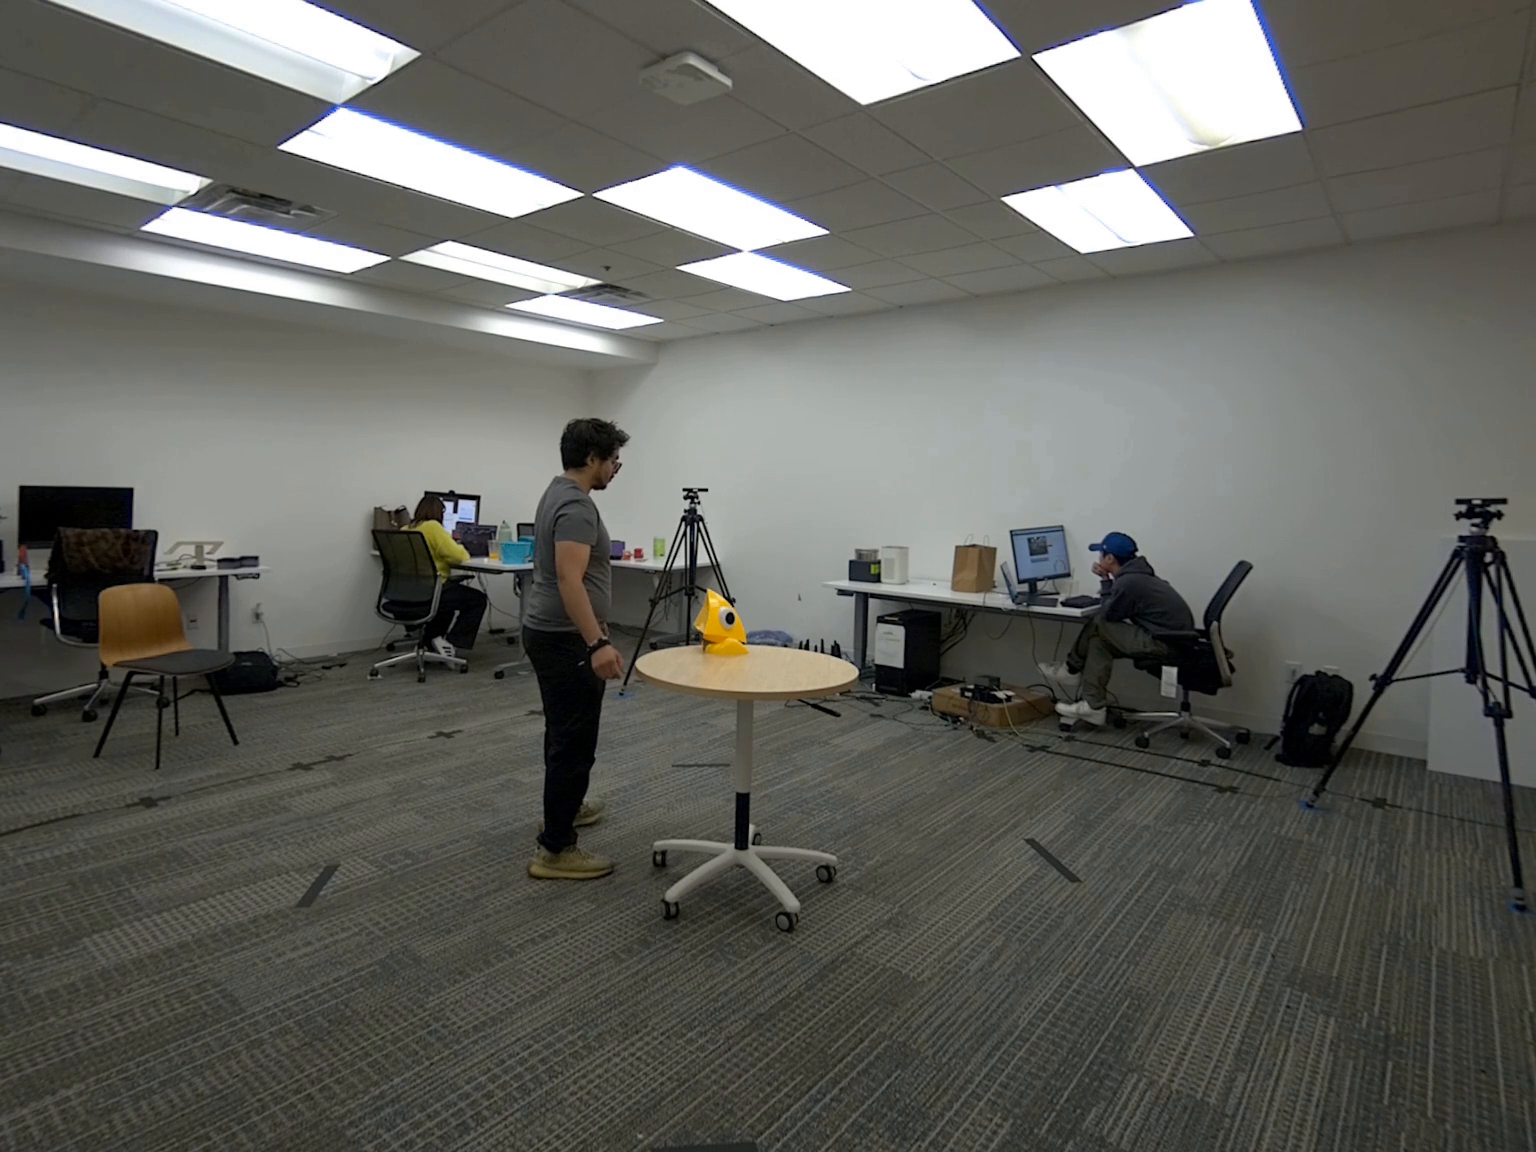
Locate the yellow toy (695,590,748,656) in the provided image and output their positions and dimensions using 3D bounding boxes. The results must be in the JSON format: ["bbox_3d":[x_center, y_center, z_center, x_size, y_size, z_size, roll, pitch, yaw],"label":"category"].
[{"bbox_3d":[-0.182,0.163,3.194,0.190,0.230,0.208,2,3,-15],"label":"yellow toy"}]
